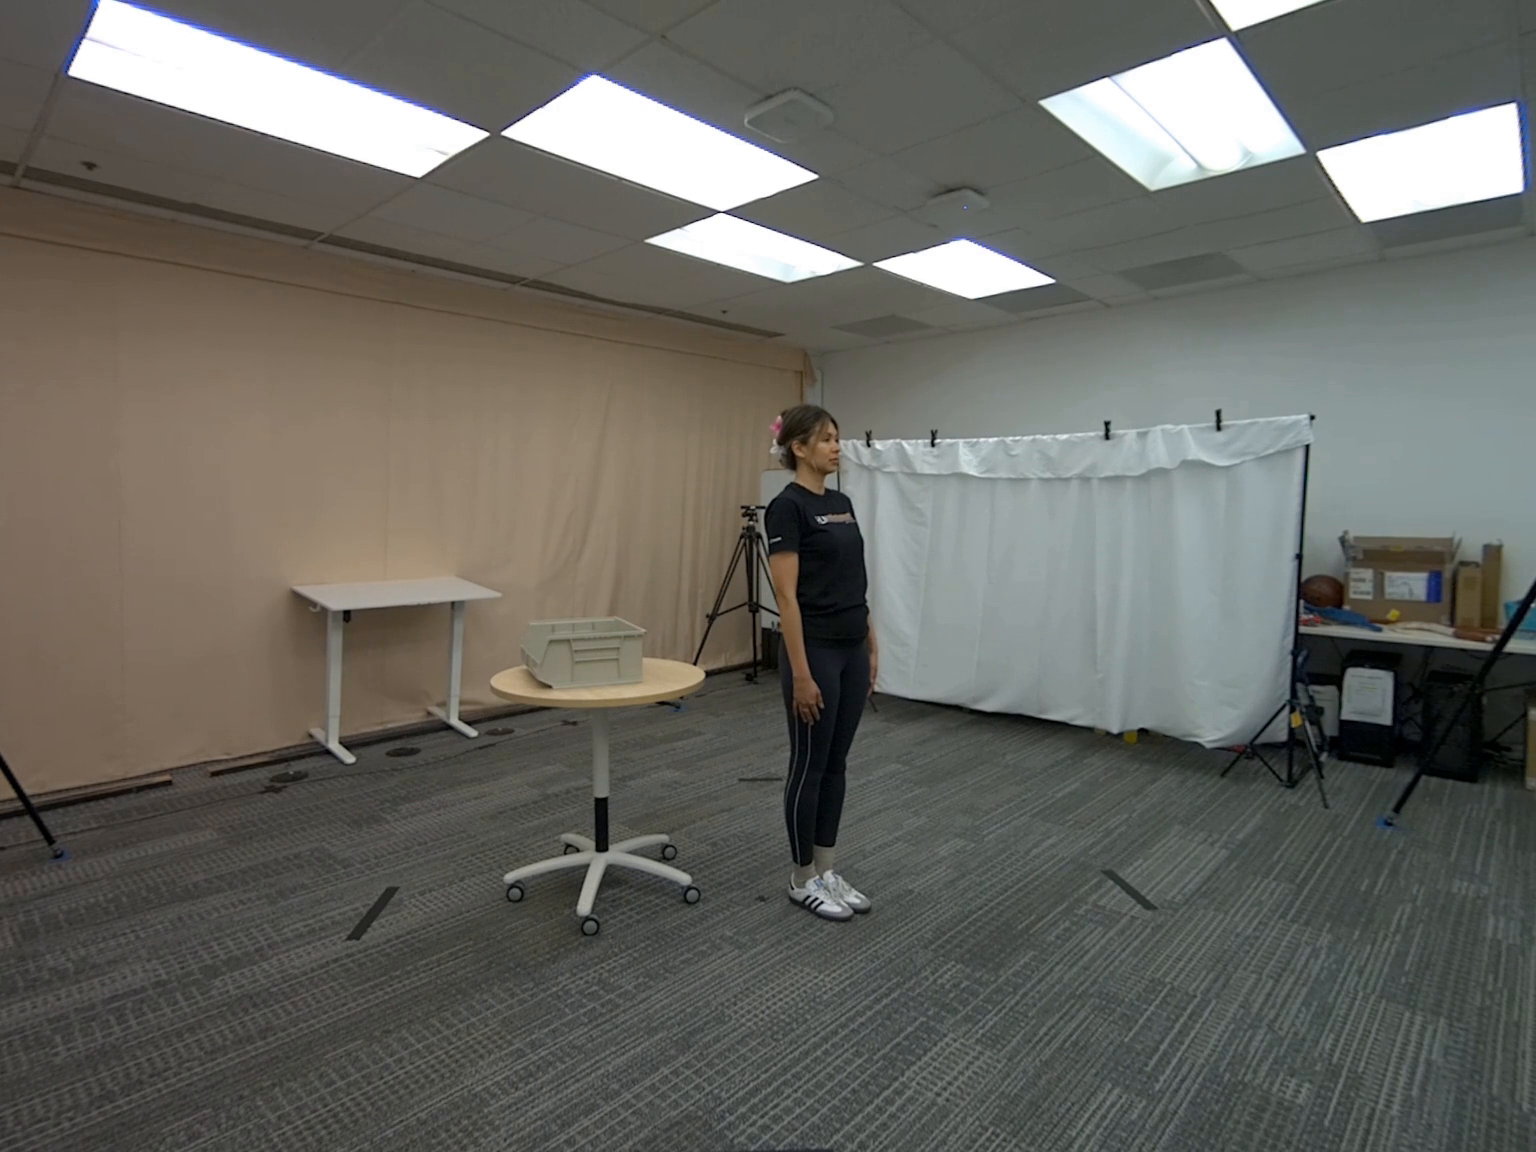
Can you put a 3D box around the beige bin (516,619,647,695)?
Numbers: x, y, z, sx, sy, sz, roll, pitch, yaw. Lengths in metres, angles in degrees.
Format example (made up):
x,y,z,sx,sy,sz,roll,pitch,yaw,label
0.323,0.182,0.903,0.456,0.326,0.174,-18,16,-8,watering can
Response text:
x,y,z,sx,sy,sz,roll,pitch,yaw,label
-0.678,0.276,3.027,0.369,0.189,0.432,0,3,-24,beige bin
